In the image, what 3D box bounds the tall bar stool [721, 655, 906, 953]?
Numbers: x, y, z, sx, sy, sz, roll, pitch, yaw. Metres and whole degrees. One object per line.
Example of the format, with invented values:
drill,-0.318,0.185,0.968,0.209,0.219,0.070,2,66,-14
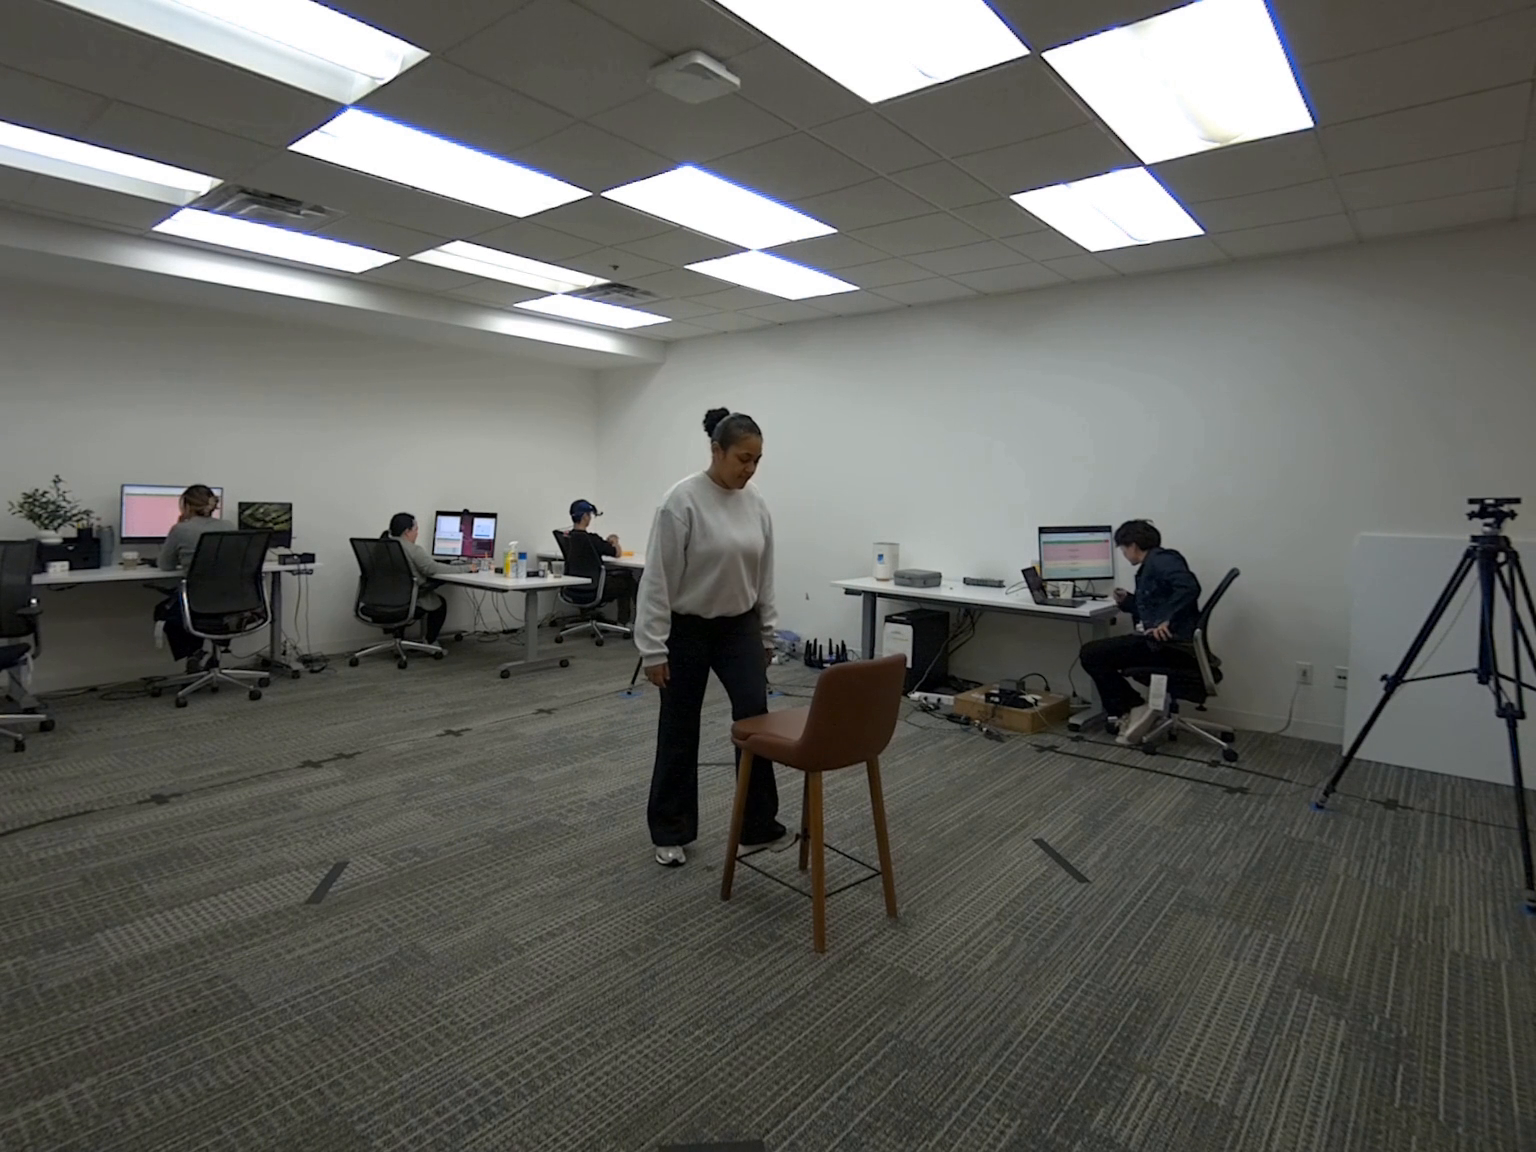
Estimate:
tall bar stool,0.149,0.664,2.815,0.442,0.886,0.484,-1,6,-42
